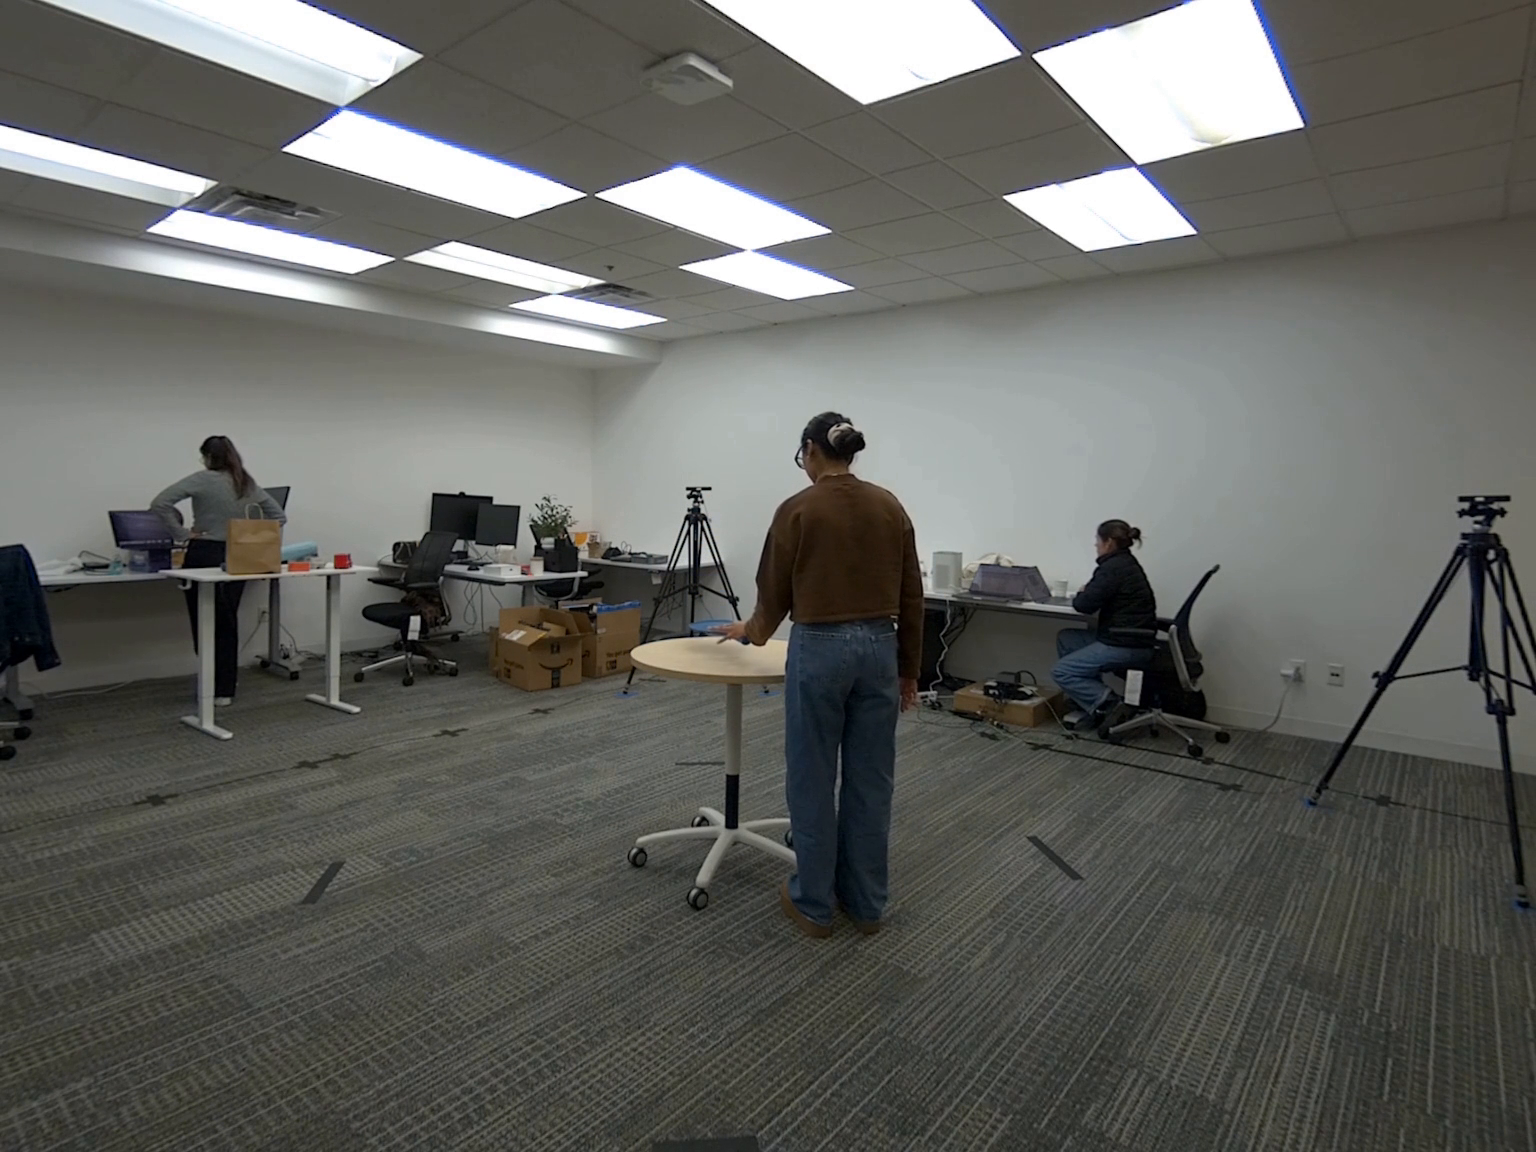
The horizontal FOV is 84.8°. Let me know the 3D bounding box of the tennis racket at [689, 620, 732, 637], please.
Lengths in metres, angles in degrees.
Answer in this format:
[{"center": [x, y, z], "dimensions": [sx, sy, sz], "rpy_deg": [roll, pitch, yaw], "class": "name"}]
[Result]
[{"center": [-0.186, 0.198, 3.140], "dimensions": [0.210, 0.031, 0.443], "rpy_deg": [-5, 8, -21], "class": "tennis racket"}]
